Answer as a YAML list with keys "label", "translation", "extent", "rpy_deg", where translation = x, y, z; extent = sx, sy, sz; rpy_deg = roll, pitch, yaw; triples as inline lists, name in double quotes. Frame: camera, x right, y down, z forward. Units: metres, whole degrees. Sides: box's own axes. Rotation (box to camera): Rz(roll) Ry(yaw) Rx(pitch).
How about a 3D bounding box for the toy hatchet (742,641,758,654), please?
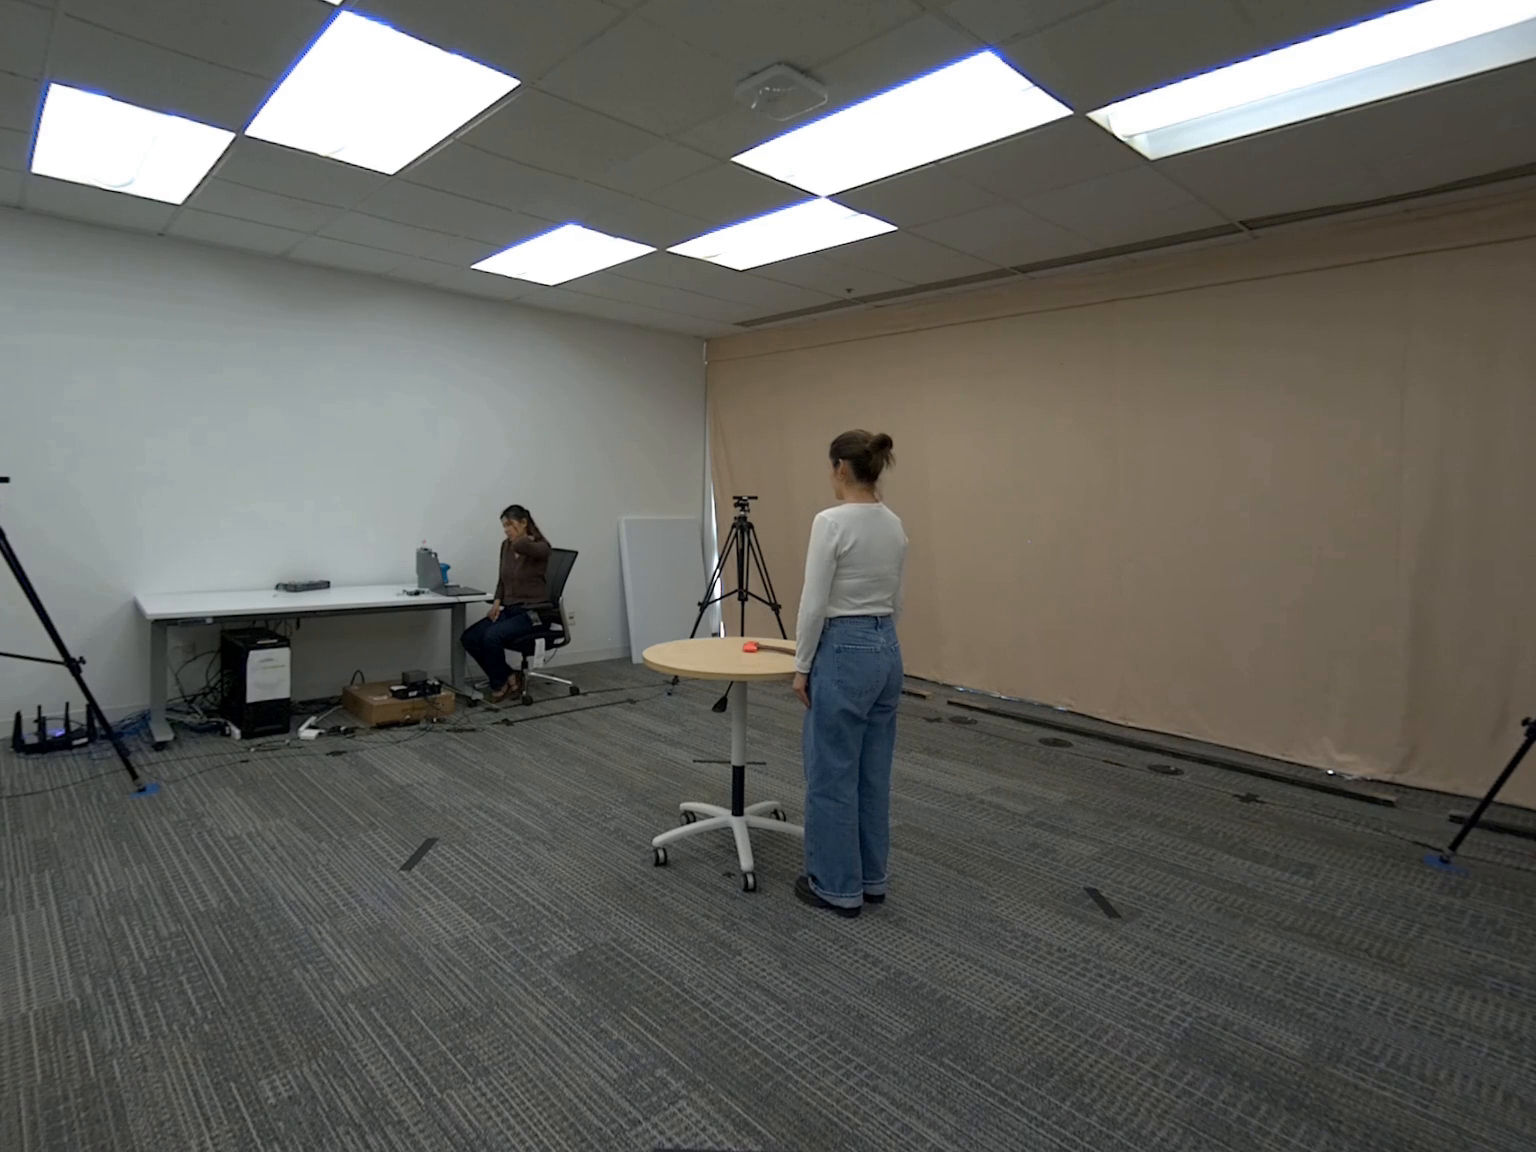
- label: "toy hatchet"
  translation: [0.003, 0.291, 3.299]
  extent: [0.128, 0.029, 0.277]
  rpy_deg: [-7, 10, -44]
